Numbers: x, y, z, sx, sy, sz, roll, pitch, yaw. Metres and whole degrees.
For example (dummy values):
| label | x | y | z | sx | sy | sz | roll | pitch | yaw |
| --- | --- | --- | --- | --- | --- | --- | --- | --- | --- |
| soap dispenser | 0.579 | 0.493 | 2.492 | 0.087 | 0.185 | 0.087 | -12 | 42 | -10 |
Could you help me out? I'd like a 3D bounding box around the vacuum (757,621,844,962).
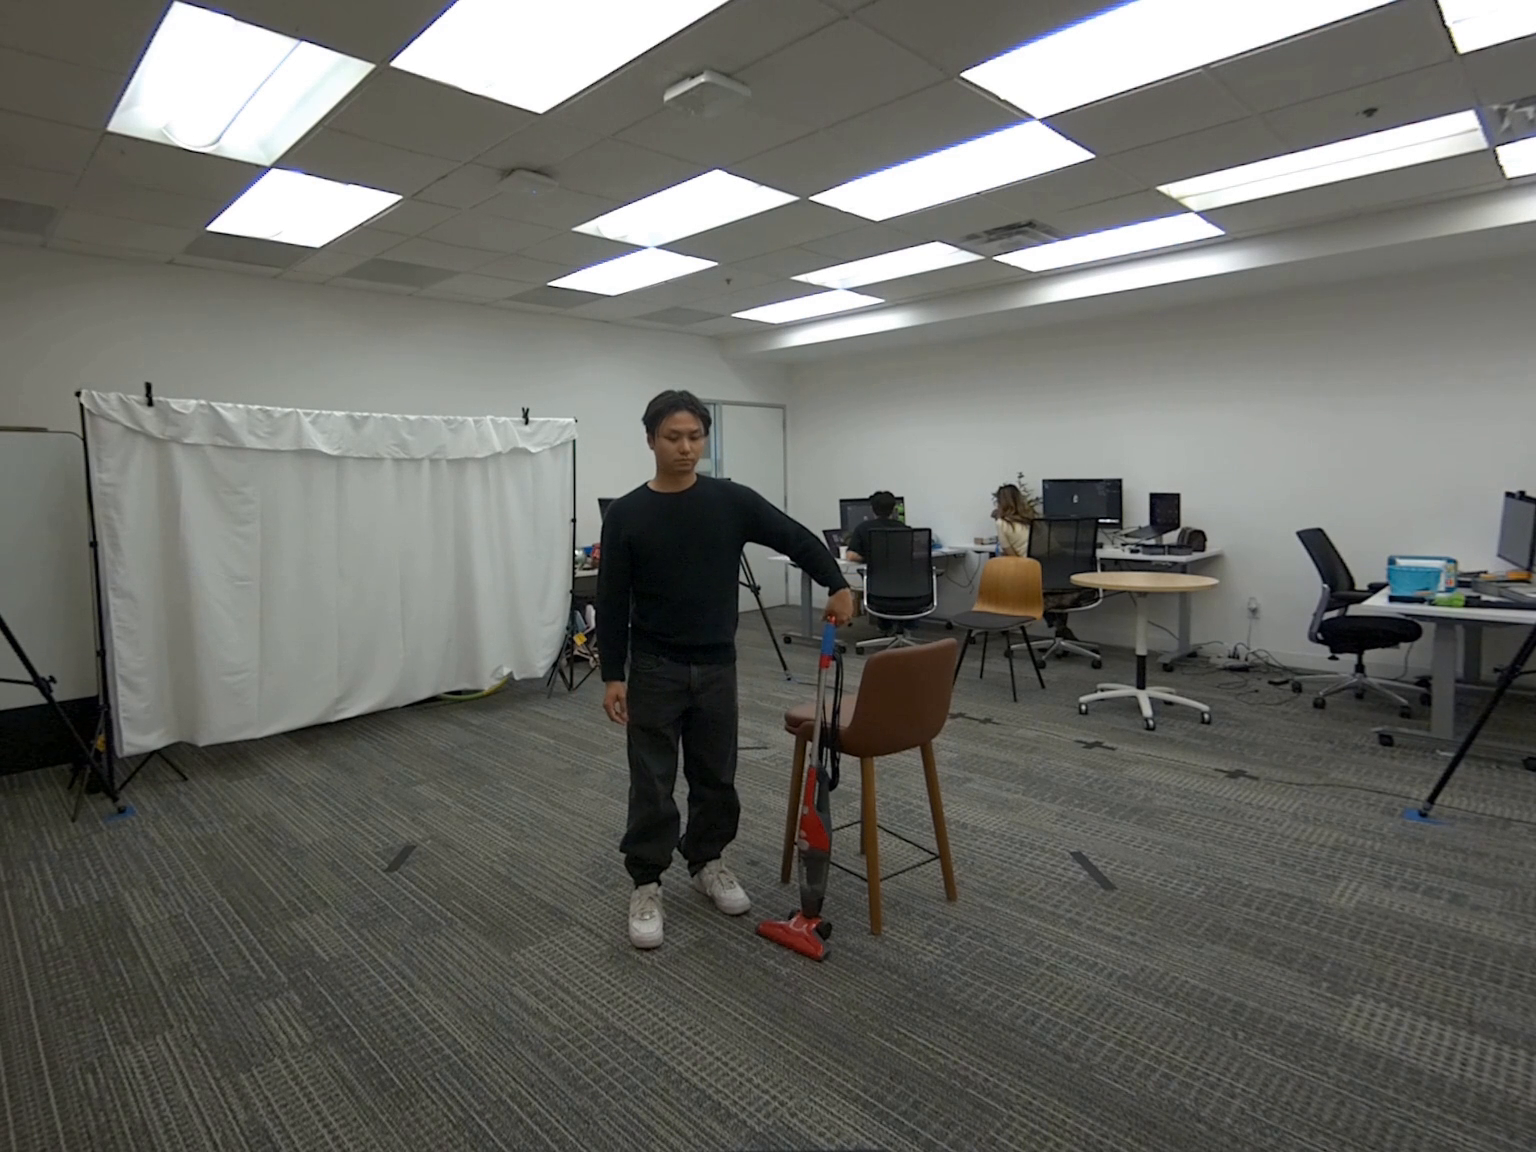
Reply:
| label | x | y | z | sx | sy | sz | roll | pitch | yaw |
| --- | --- | --- | --- | --- | --- | --- | --- | --- | --- |
| vacuum | 0.171 | 0.585 | 2.638 | 0.260 | 1.054 | 0.139 | 3 | -8 | 41 |
